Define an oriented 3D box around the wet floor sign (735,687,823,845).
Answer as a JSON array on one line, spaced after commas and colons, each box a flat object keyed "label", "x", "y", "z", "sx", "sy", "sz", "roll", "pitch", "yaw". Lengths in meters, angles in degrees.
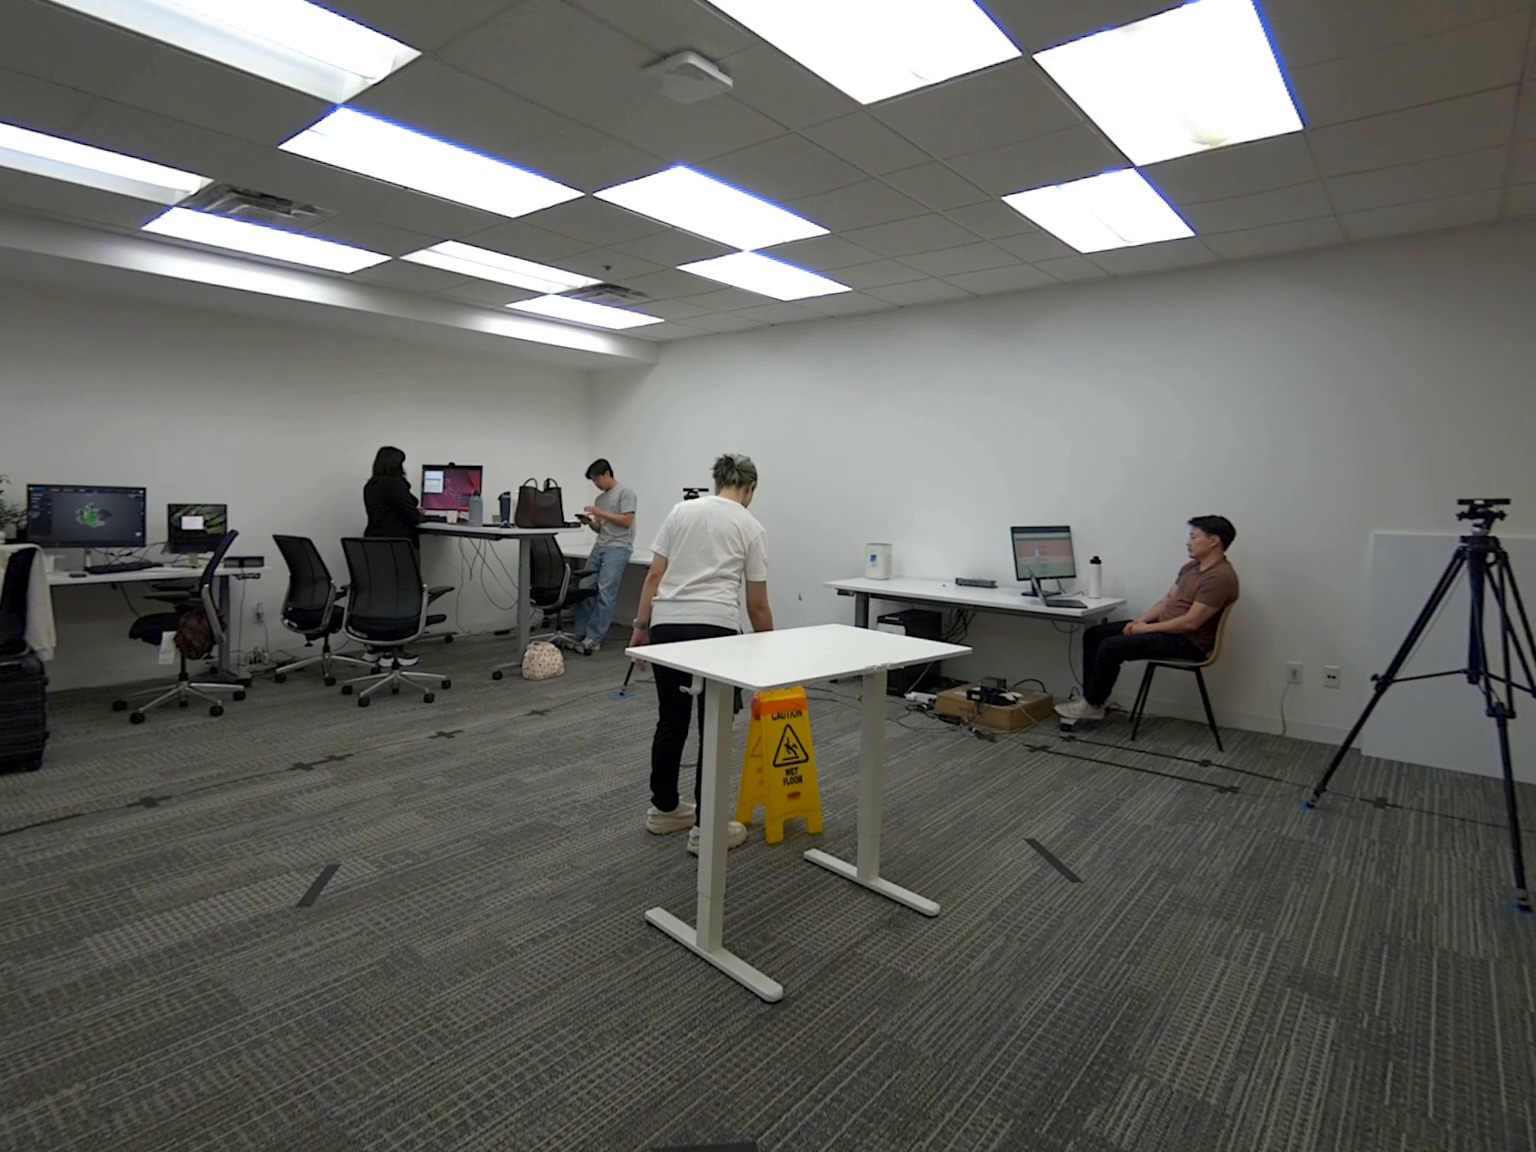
[{"label": "wet floor sign", "x": 0.042, "y": 0.705, "z": 3.492, "sx": 0.274, "sy": 0.645, "sz": 0.298, "roll": -1, "pitch": 2, "yaw": -32}]
